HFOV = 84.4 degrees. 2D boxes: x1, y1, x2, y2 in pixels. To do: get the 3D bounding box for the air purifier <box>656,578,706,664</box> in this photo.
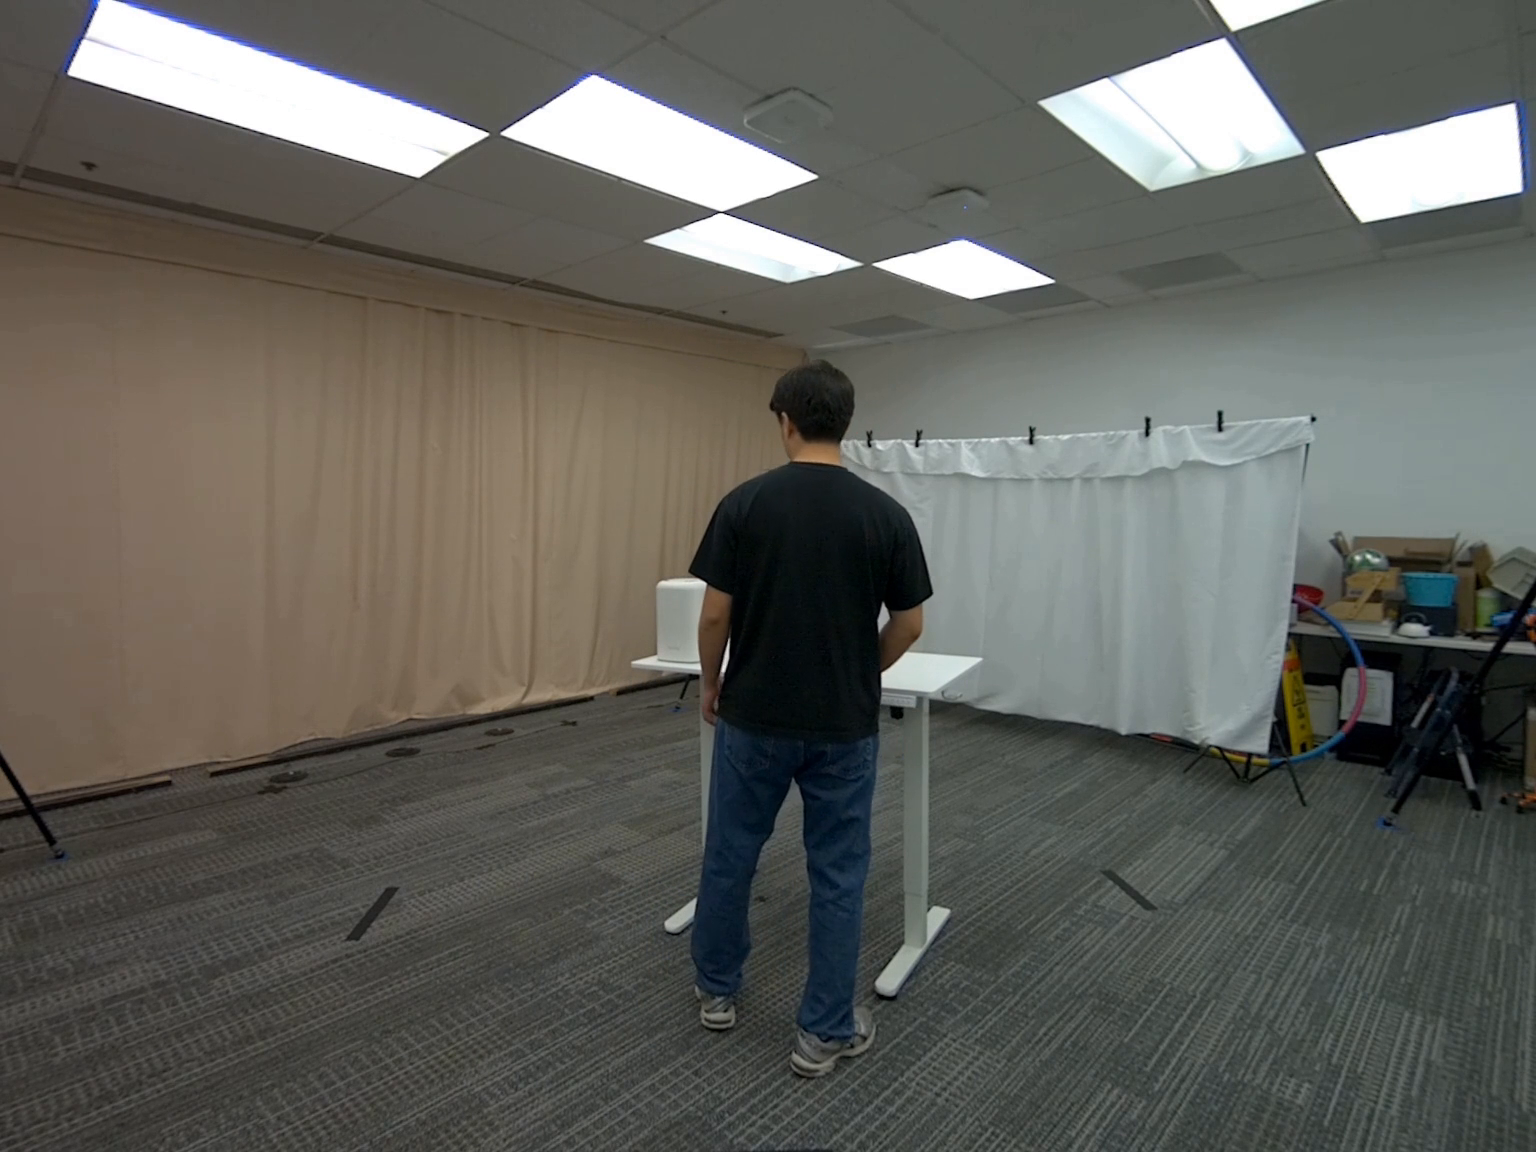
[{"bbox_3d":[-0.270,0.147,2.822,0.175,0.265,0.168,1,4,25],"label":"air purifier"}]
